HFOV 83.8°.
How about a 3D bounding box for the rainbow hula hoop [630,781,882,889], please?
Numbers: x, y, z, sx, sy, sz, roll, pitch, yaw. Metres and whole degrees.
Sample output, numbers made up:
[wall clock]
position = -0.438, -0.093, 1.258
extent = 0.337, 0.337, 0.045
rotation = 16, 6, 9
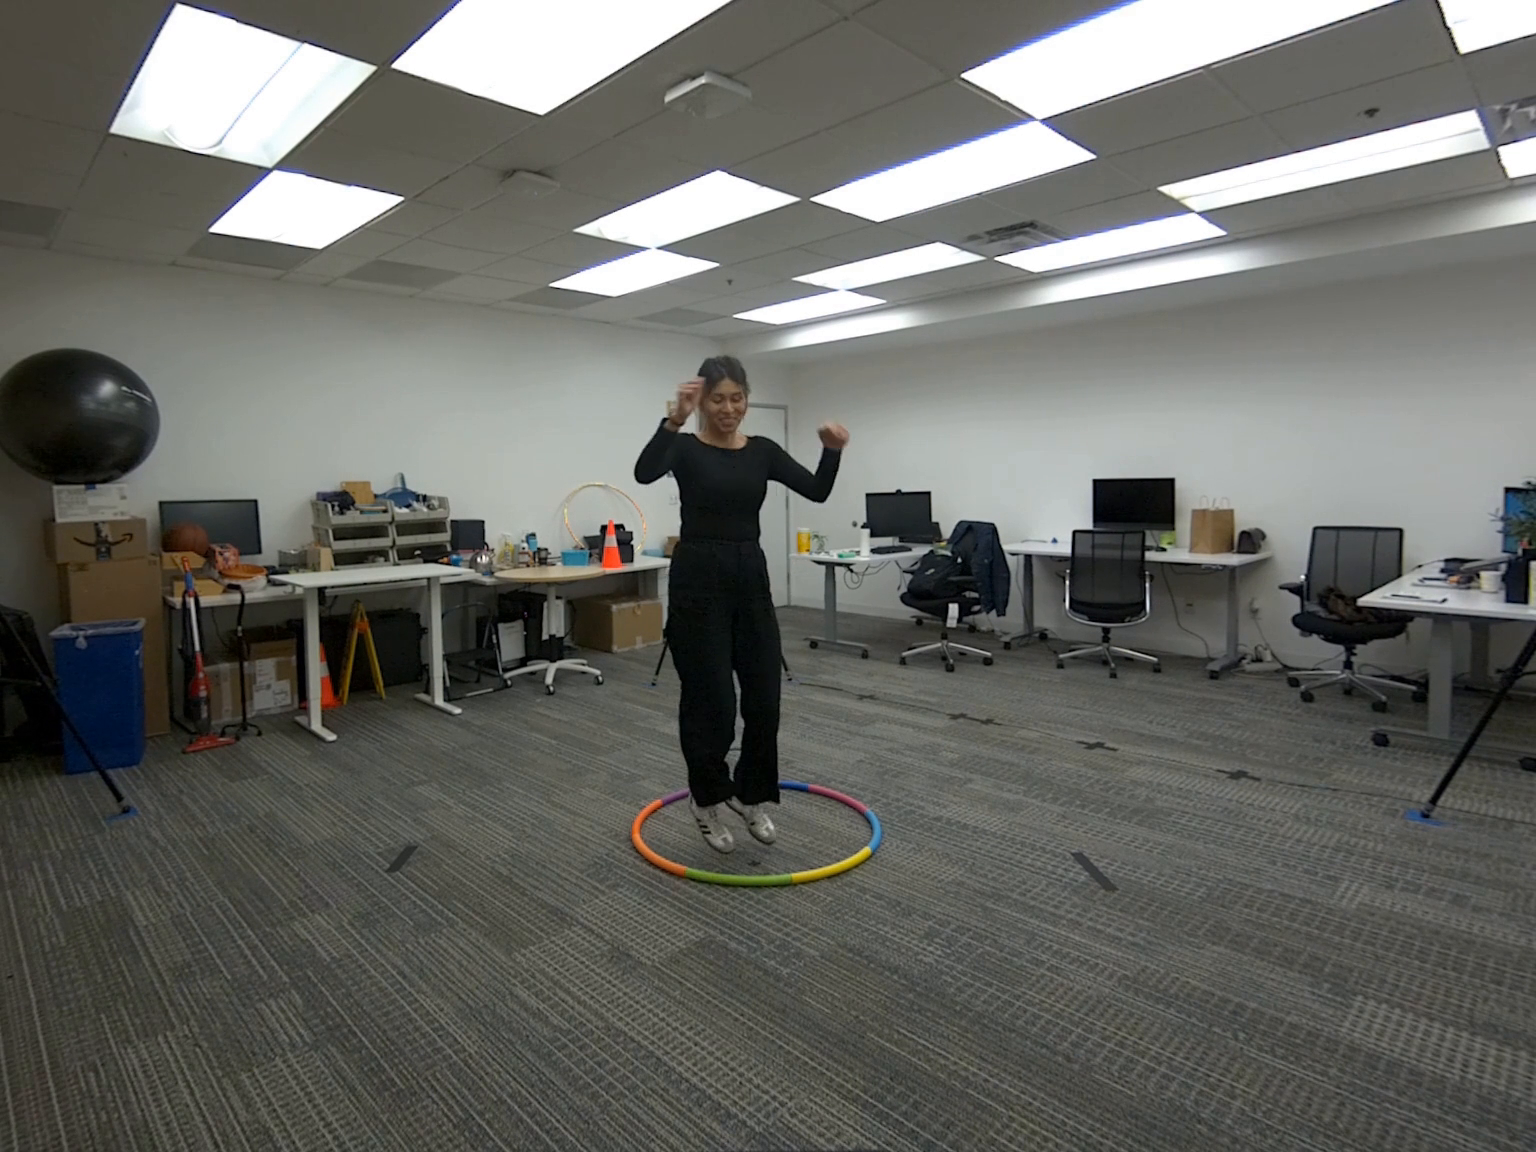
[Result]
[rainbow hula hoop]
position = -0.047, 0.982, 3.401
extent = 0.978, 0.035, 0.984
rotation = -1, 6, -2
